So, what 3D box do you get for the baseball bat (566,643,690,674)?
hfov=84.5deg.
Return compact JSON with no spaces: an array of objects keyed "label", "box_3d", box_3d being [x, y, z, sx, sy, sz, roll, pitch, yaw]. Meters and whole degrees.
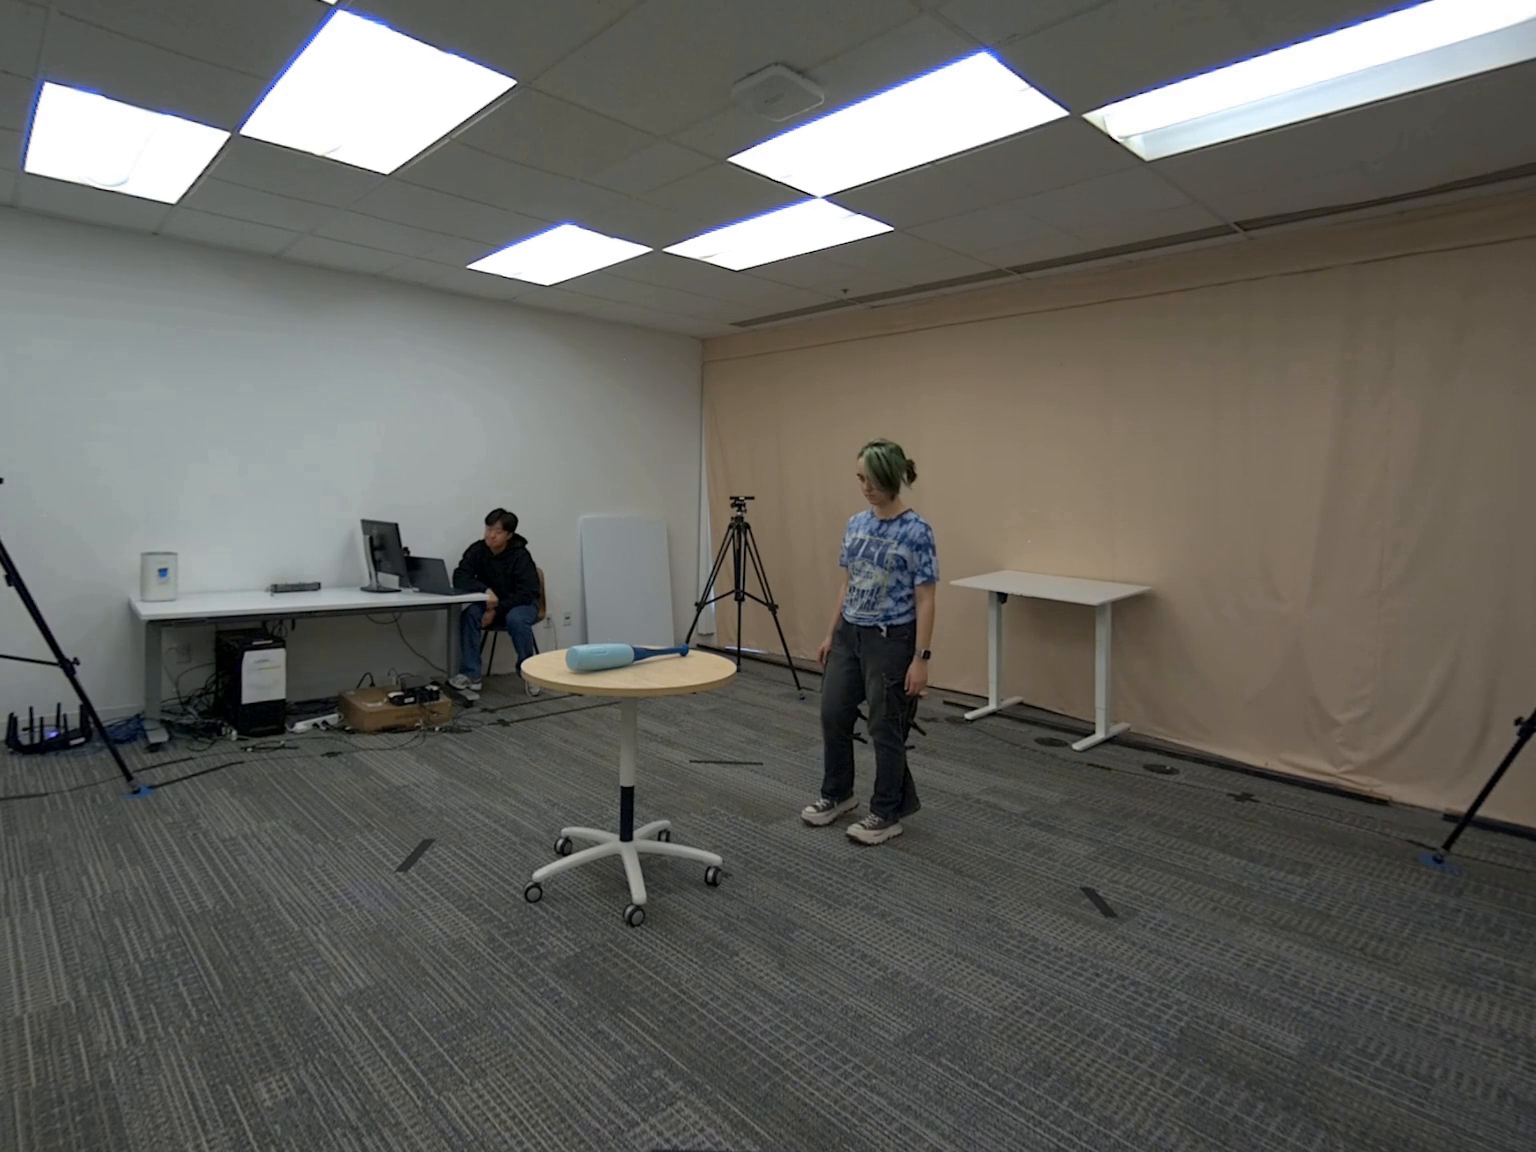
[{"label":"baseball bat","box_3d":[-0.495,0.285,3.024,0.091,0.089,0.530,5,3,40]}]
